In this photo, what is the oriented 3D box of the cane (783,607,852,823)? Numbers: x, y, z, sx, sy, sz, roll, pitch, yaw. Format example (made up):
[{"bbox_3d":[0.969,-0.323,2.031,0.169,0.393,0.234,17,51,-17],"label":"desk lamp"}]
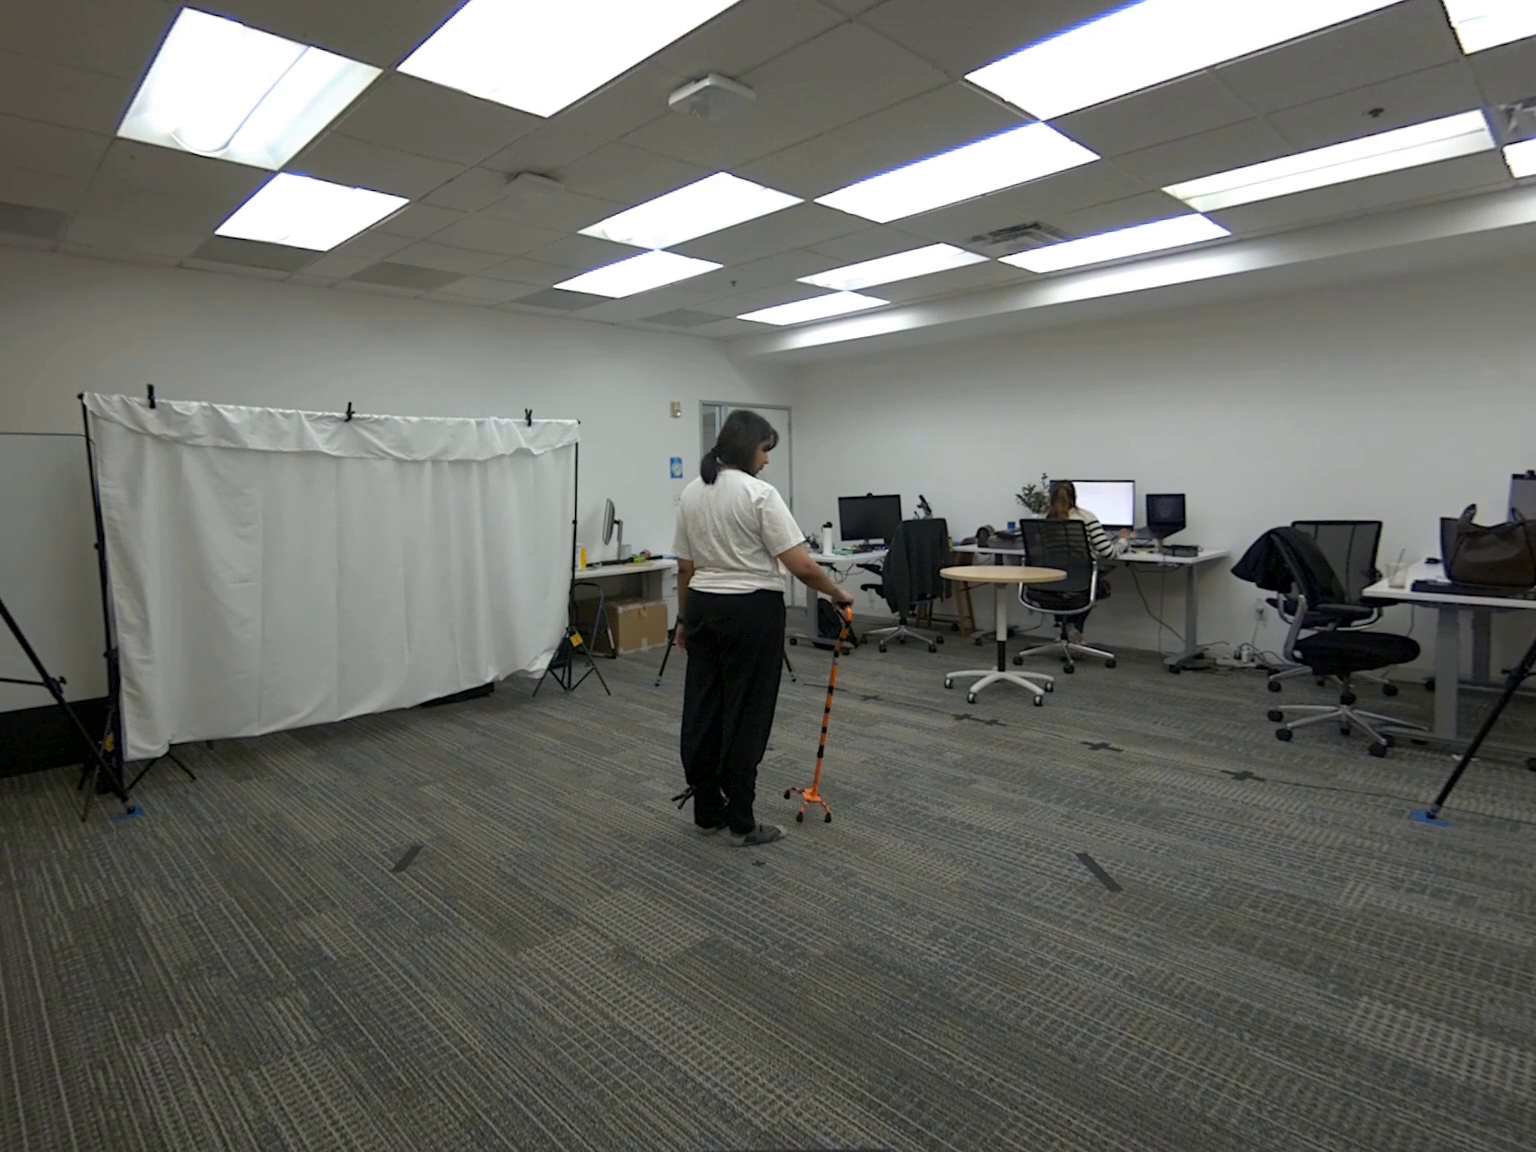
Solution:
[{"bbox_3d":[0.227,0.535,3.464,0.149,0.900,0.212,6,12,-18],"label":"cane"}]
